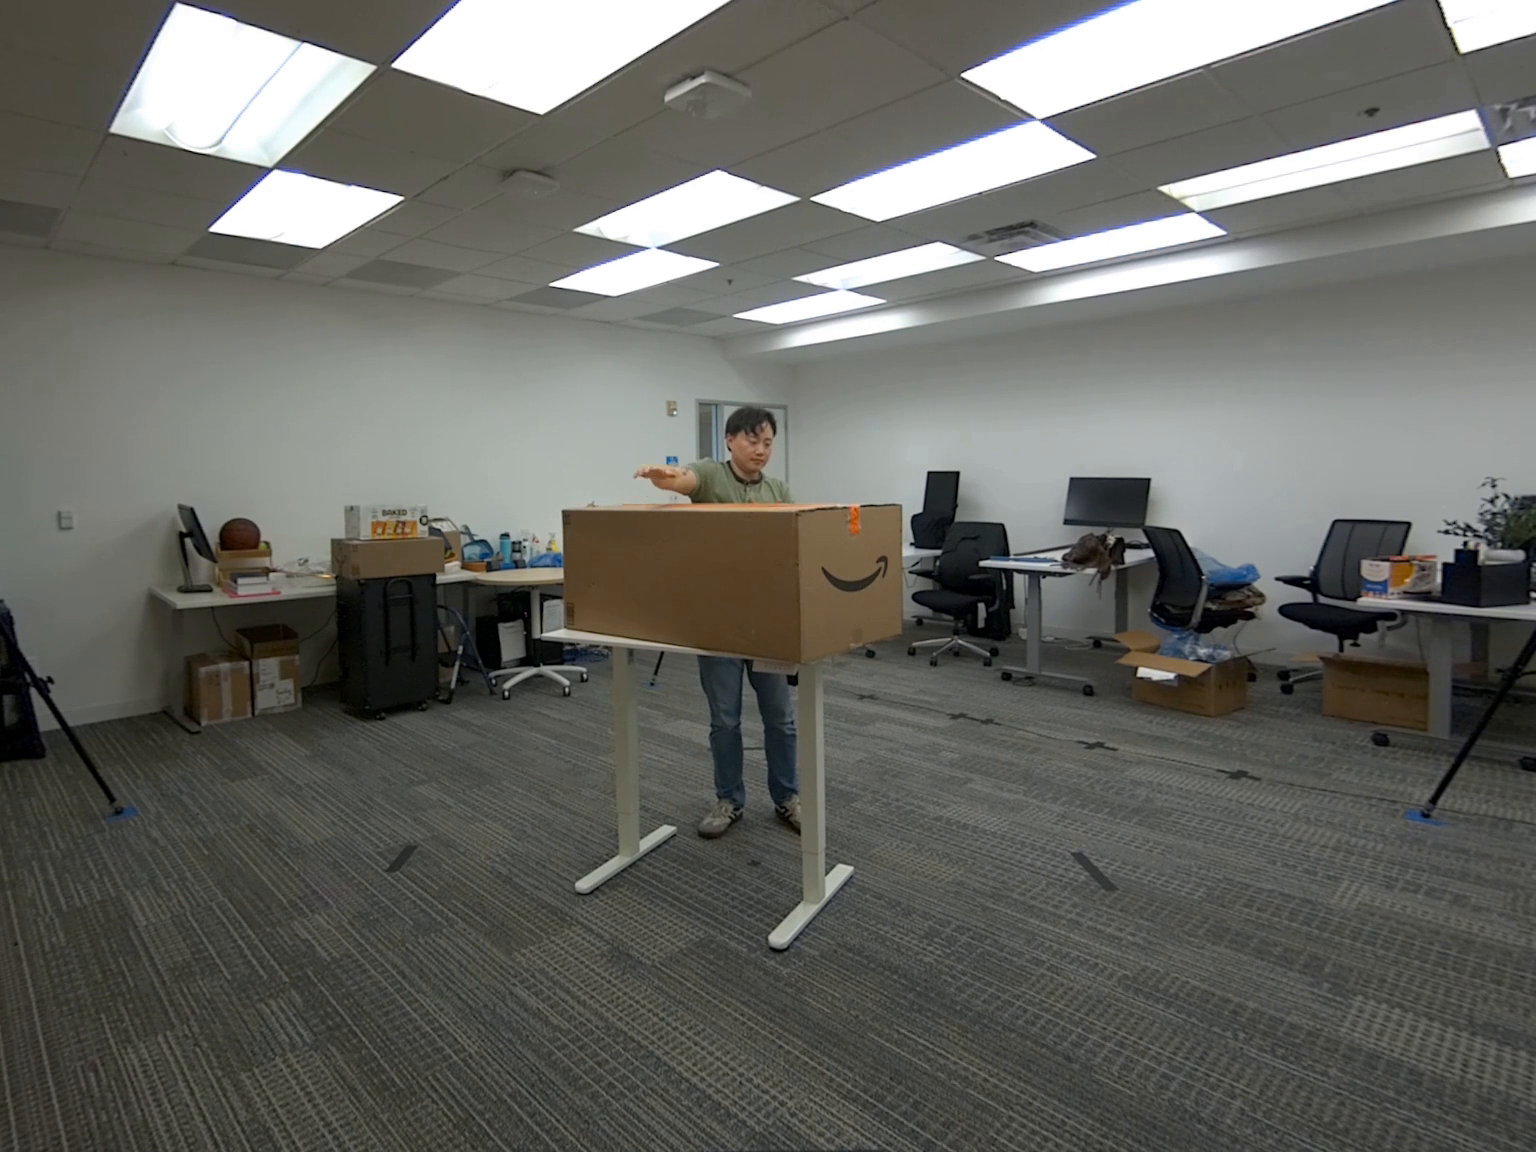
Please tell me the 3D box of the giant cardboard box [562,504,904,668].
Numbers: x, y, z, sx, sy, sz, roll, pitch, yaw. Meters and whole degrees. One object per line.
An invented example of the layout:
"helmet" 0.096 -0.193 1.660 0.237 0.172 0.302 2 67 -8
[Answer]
"giant cardboard box" -0.143 -0.022 2.864 1.056 0.425 0.562 3 6 39
